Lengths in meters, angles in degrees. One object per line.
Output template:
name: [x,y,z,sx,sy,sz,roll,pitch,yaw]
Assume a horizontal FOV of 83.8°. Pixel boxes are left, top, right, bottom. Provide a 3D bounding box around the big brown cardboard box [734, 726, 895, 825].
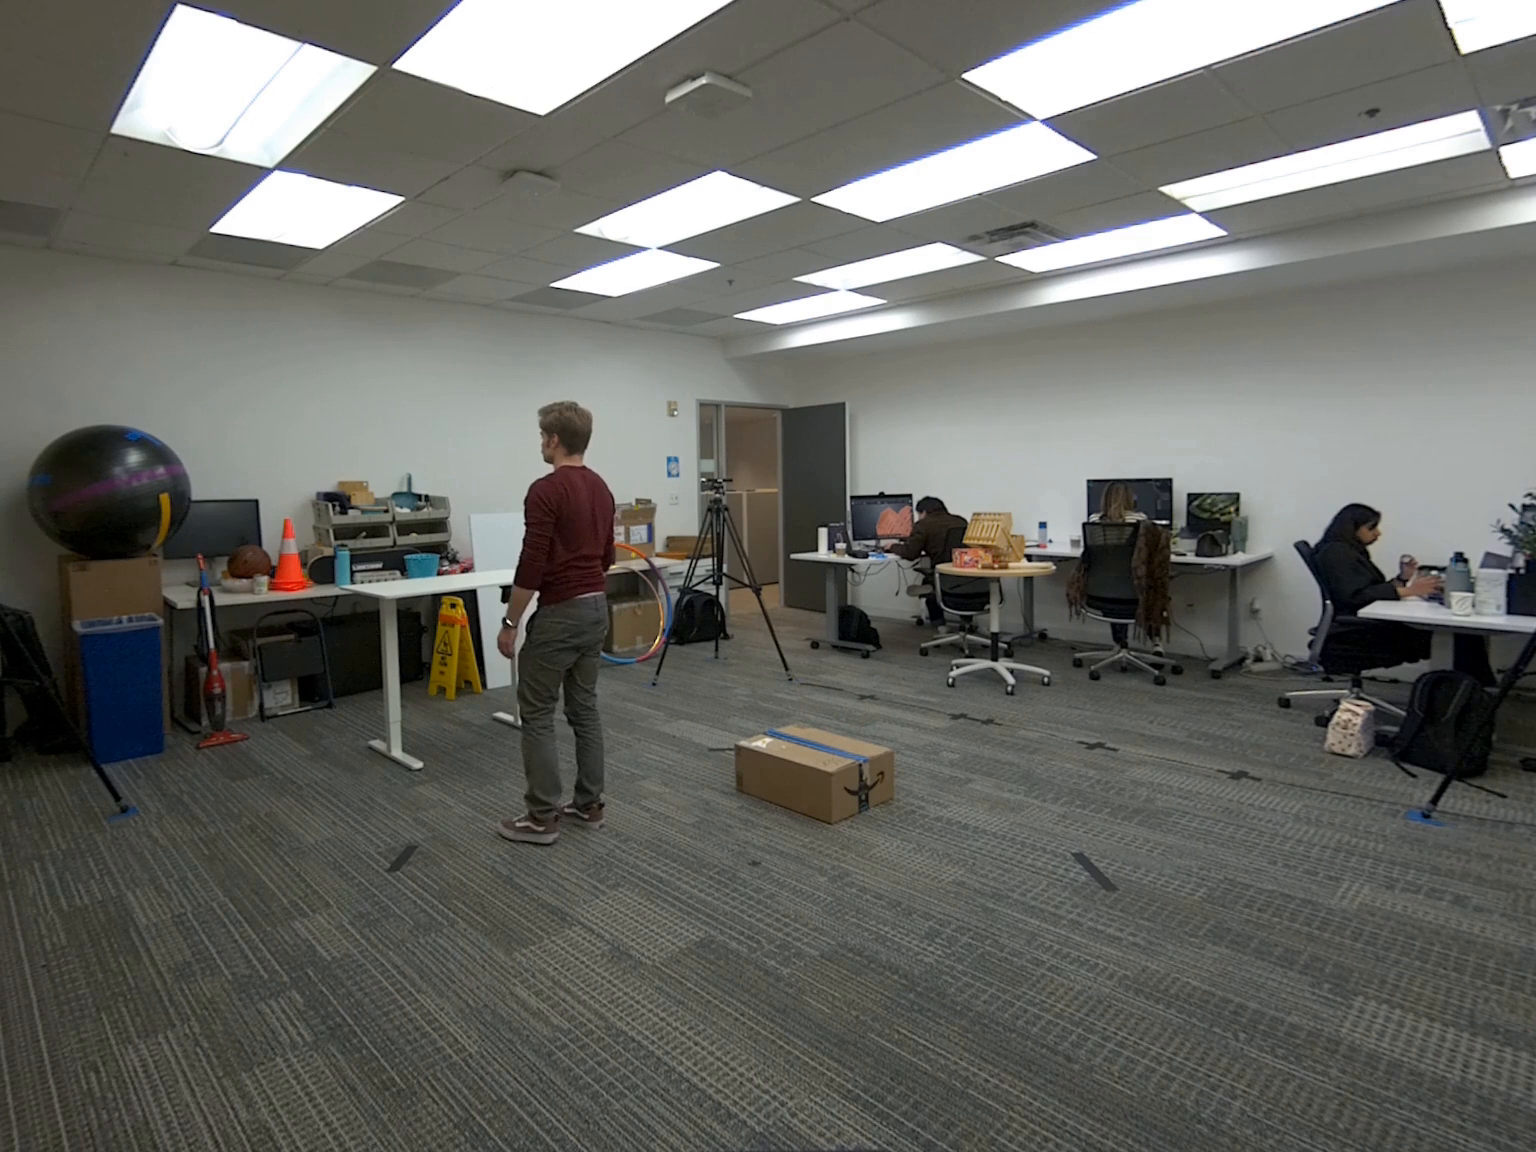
big brown cardboard box: [0.199,0.855,3.779,0.406,0.232,0.607,-6,9,-45]
